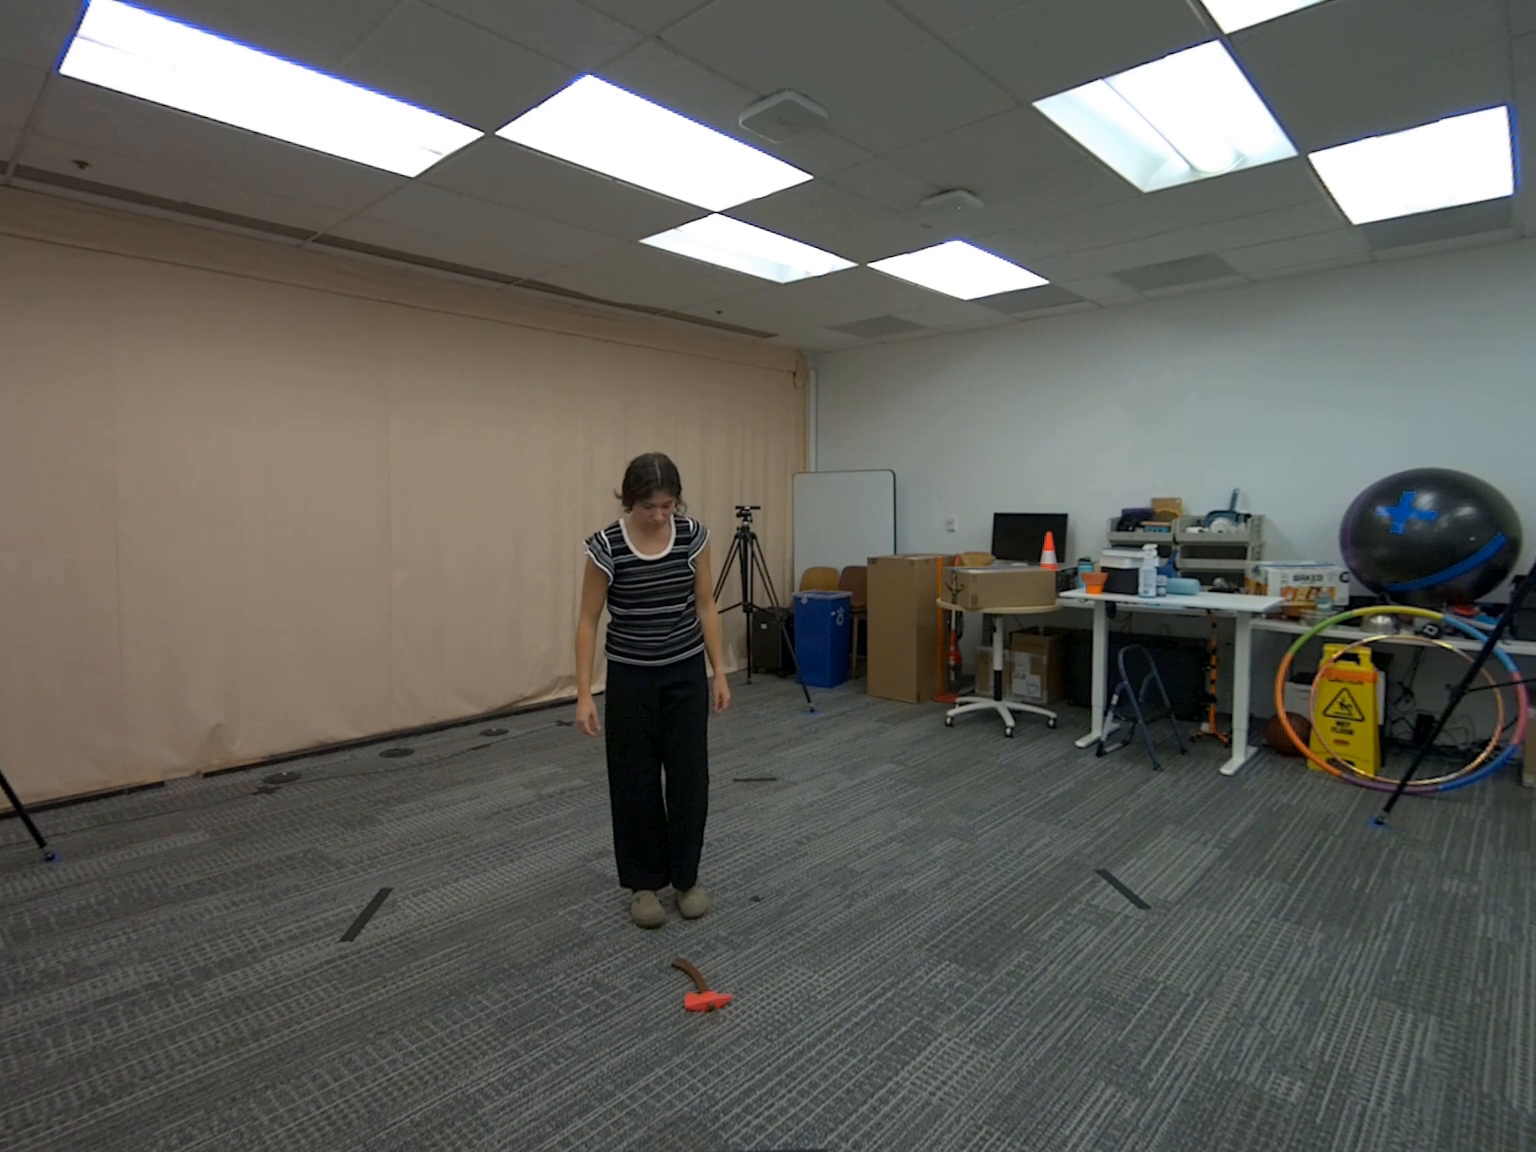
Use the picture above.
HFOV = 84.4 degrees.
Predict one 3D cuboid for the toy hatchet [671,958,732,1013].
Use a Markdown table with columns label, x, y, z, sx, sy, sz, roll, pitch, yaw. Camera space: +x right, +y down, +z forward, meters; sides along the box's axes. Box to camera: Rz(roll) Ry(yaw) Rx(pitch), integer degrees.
| label | x | y | z | sx | sy | sz | roll | pitch | yaw |
| --- | --- | --- | --- | --- | --- | --- | --- | --- | --- |
| toy hatchet | -0.223 | 1.176 | 2.429 | 0.127 | 0.029 | 0.278 | -7 | 6 | -35 |
